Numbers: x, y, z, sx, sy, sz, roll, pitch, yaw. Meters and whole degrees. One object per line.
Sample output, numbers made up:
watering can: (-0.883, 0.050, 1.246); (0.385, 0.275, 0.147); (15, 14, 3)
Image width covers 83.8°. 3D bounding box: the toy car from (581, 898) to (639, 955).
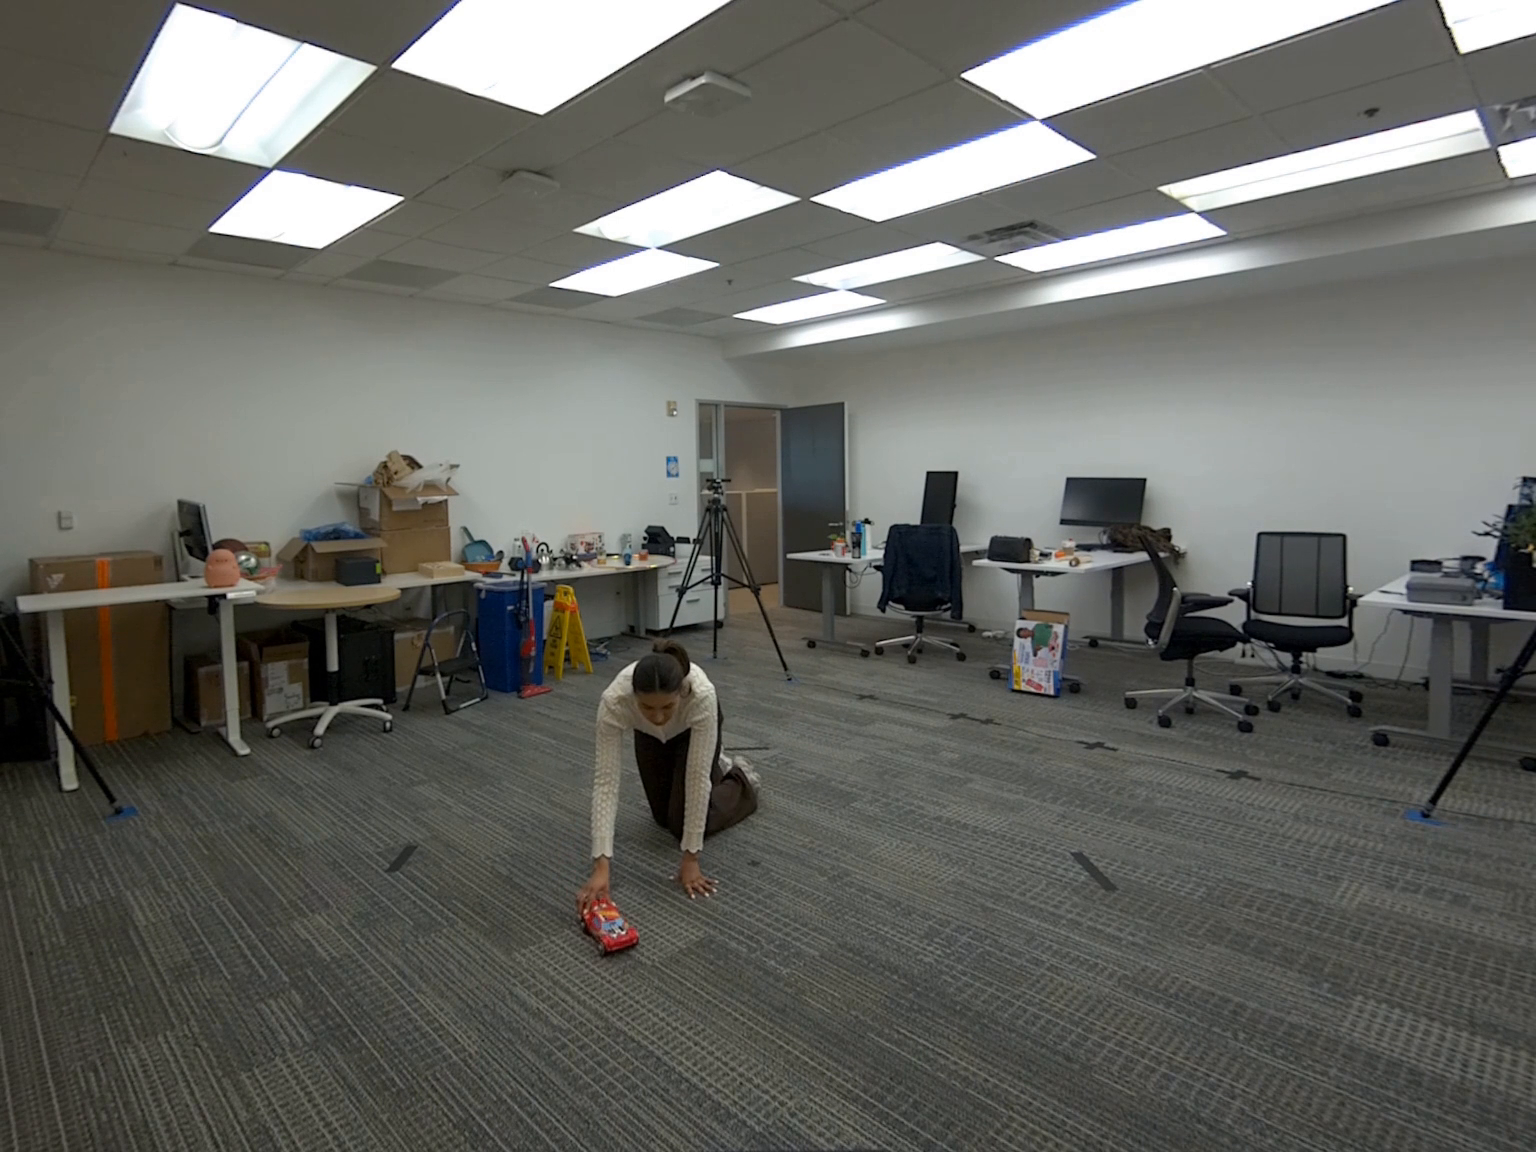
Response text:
toy car: (-0.499, 1.080, 2.631); (0.127, 0.082, 0.263); (-5, 18, -30)
